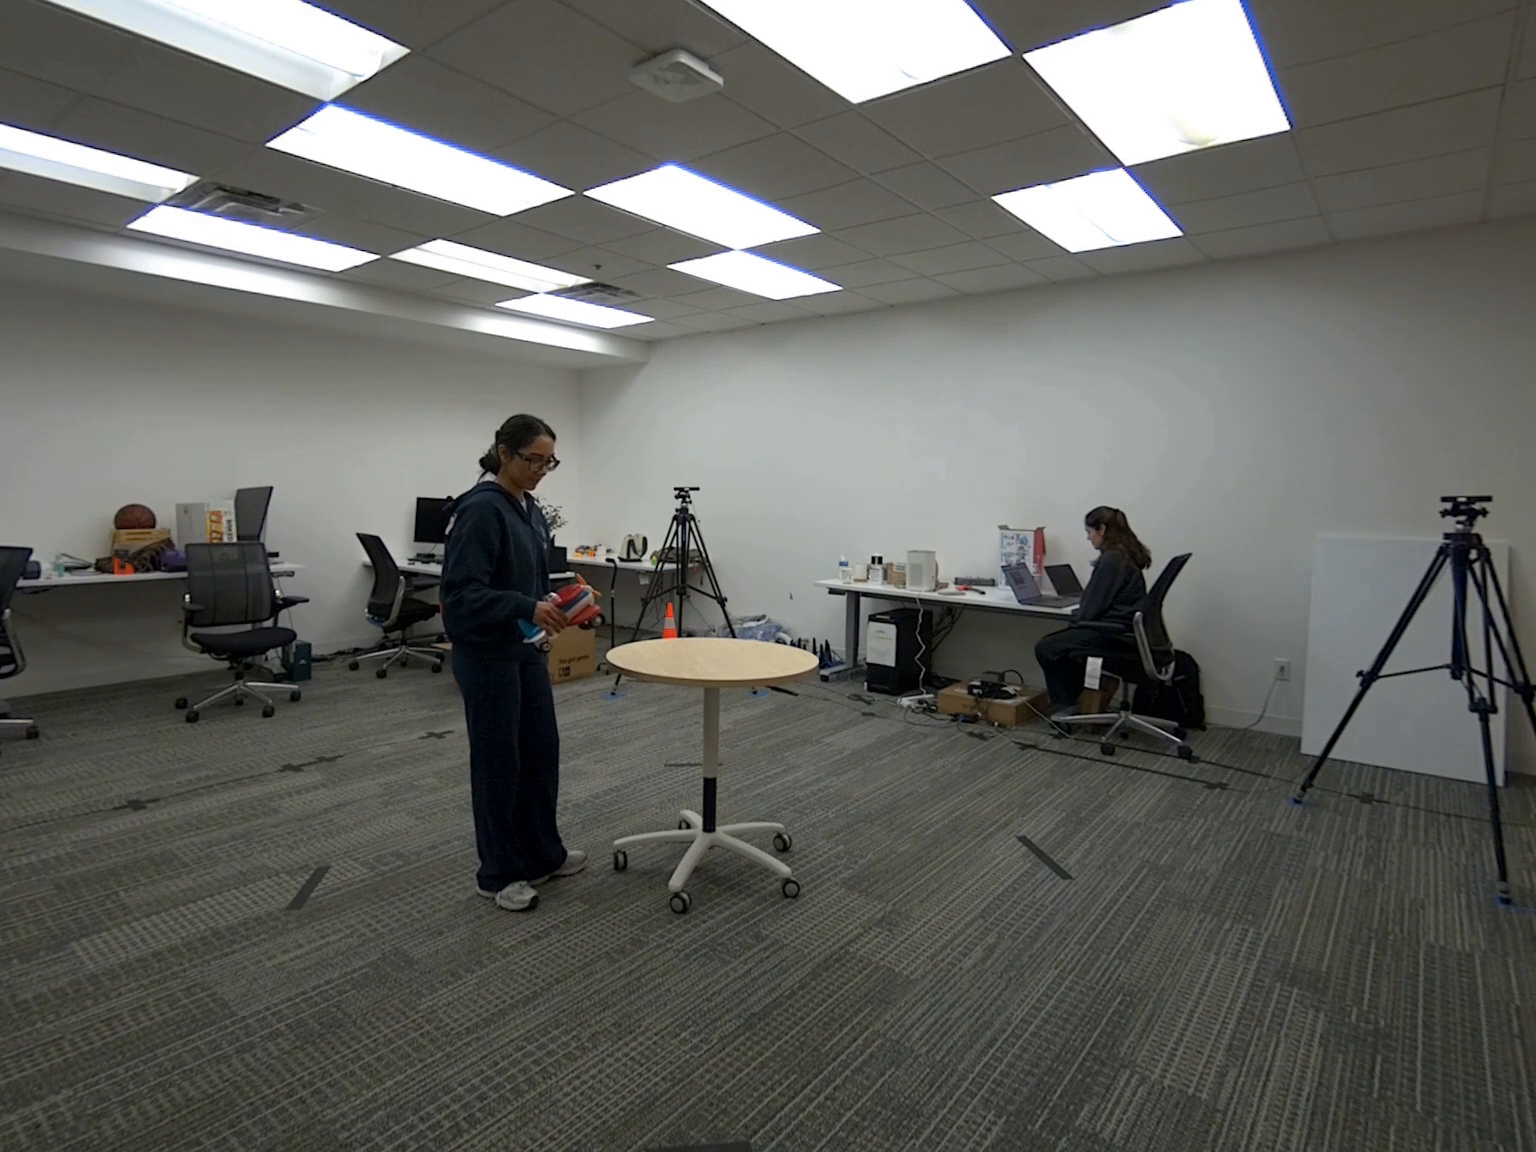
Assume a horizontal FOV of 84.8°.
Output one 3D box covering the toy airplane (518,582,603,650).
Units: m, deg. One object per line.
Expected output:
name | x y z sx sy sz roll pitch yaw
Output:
toy airplane | -0.635 0.127 2.602 0.256 0.155 0.256 -17 9 32
